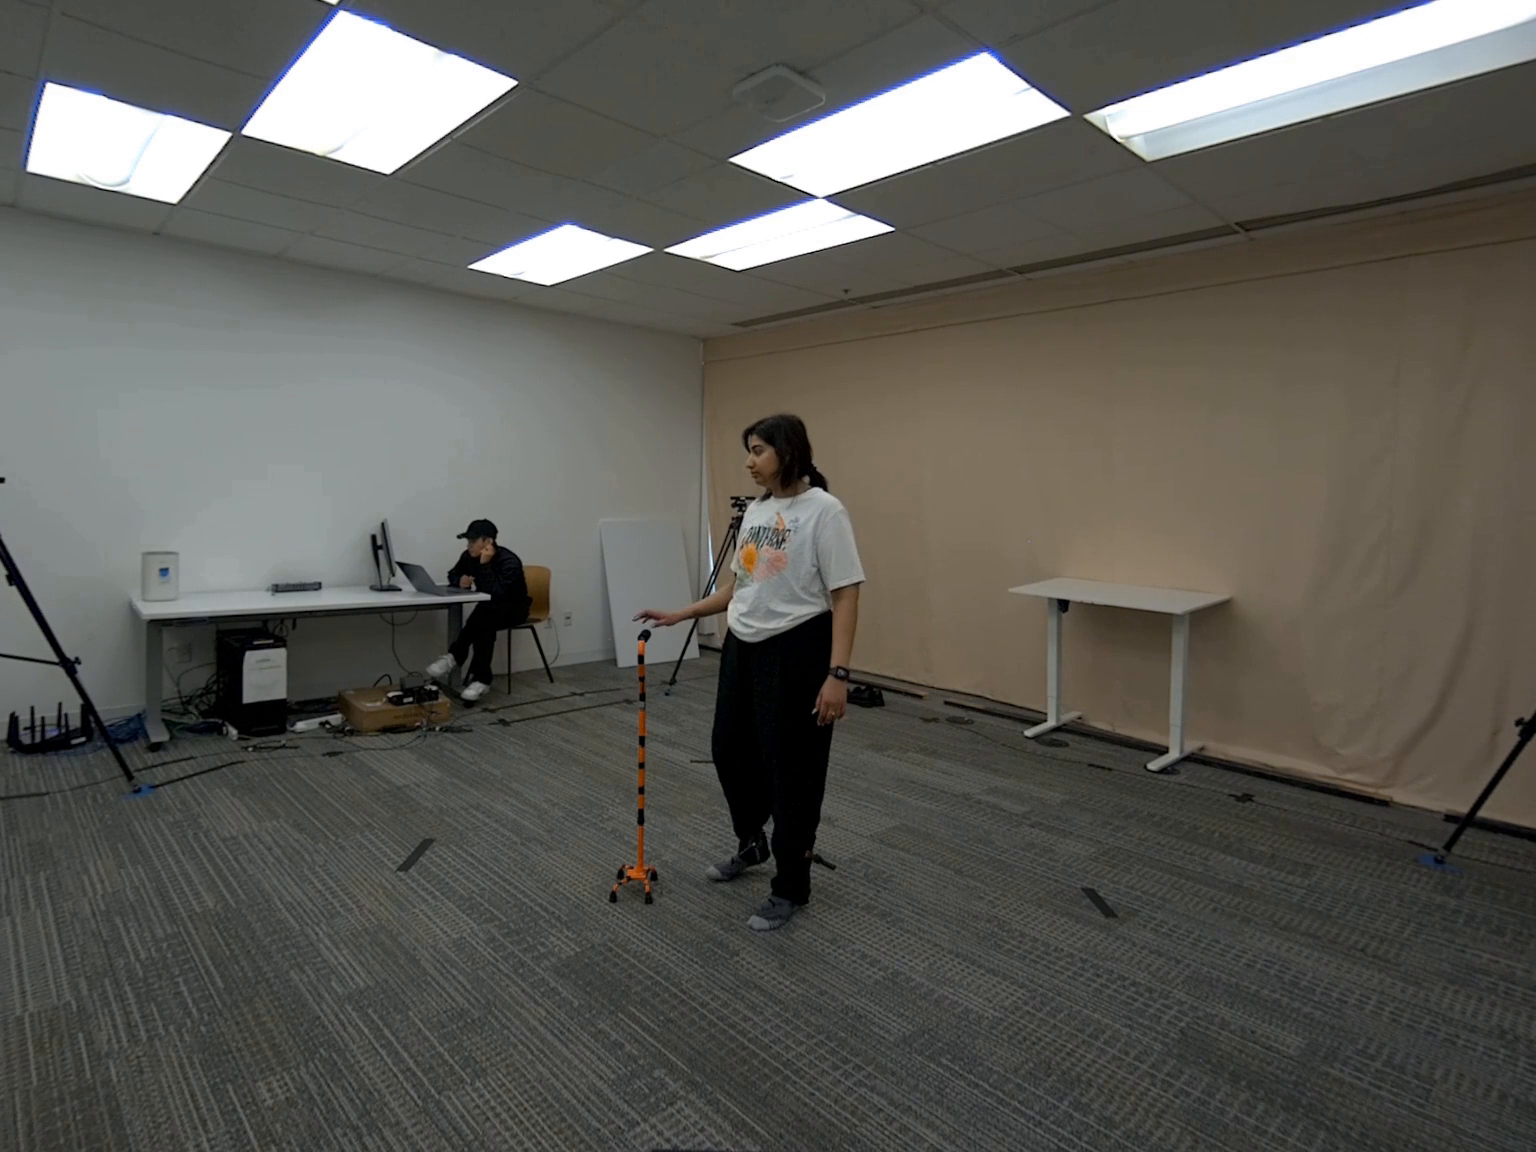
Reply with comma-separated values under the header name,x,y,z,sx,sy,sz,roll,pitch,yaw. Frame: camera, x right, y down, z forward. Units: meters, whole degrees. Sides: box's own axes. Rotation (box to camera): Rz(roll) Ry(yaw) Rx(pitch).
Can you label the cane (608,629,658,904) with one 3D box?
name,x,y,z,sx,sy,sz,roll,pitch,yaw
cane,-0.462,0.652,2.947,0.152,0.906,0.207,1,3,0
